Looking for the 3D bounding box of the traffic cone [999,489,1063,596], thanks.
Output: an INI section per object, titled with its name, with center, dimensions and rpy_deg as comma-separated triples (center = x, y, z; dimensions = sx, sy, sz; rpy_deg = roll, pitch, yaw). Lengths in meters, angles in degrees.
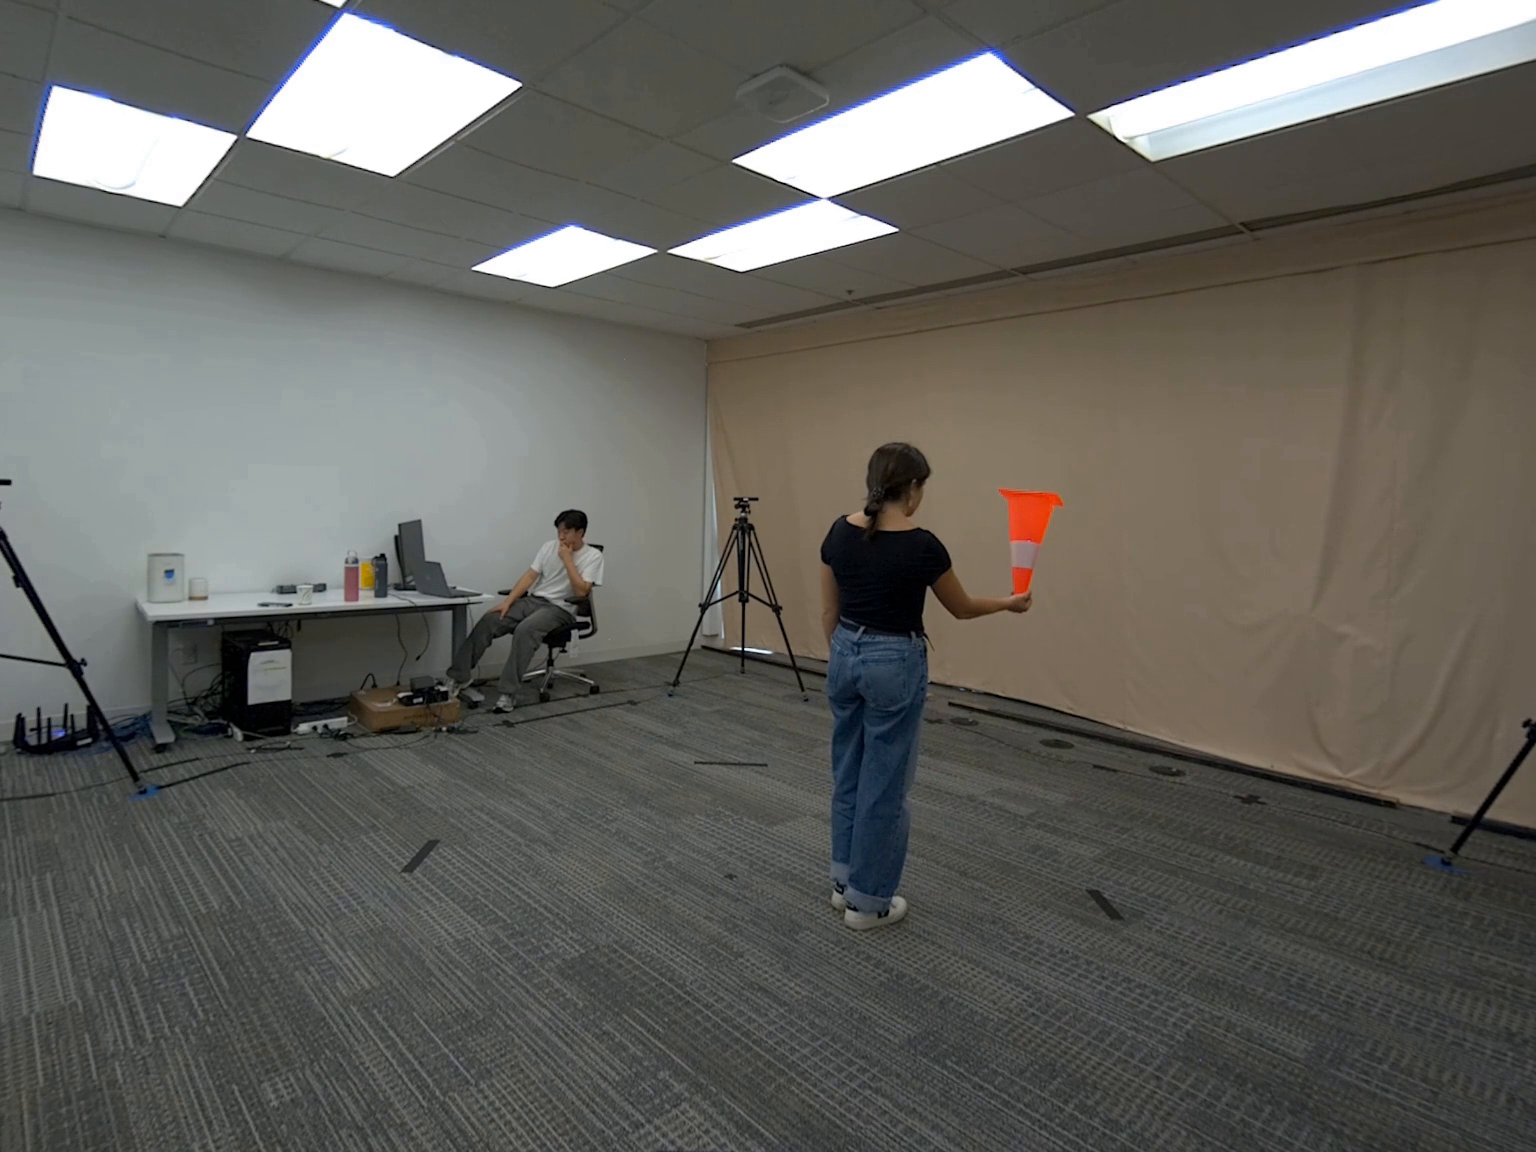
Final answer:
[traffic cone]
center = 0.890, -0.089, 2.950
dimensions = 0.209, 0.384, 0.199
rpy_deg = 10, -5, 23
